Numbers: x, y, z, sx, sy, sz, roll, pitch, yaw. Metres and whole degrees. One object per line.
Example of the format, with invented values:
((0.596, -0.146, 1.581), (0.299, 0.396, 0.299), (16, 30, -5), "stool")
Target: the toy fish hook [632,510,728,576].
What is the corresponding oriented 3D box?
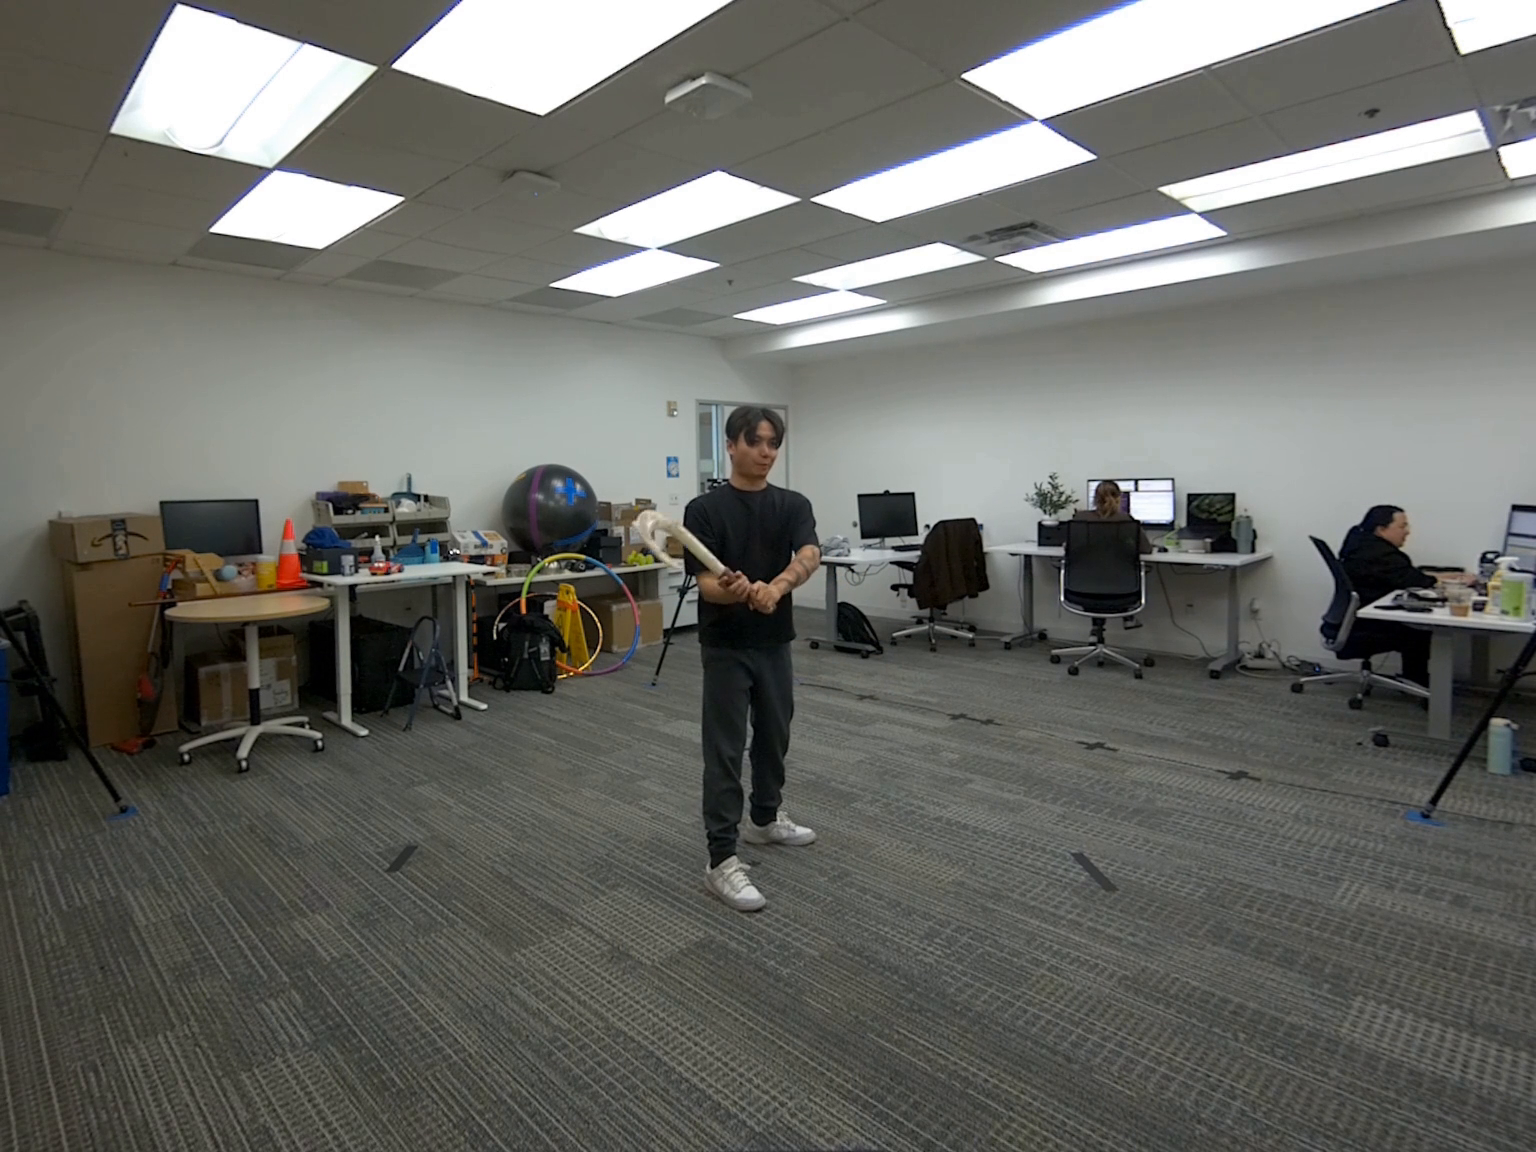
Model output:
((-0.159, 0.017, 2.535), (0.503, 0.048, 0.226), (38, 32, -5), "toy fish hook")
